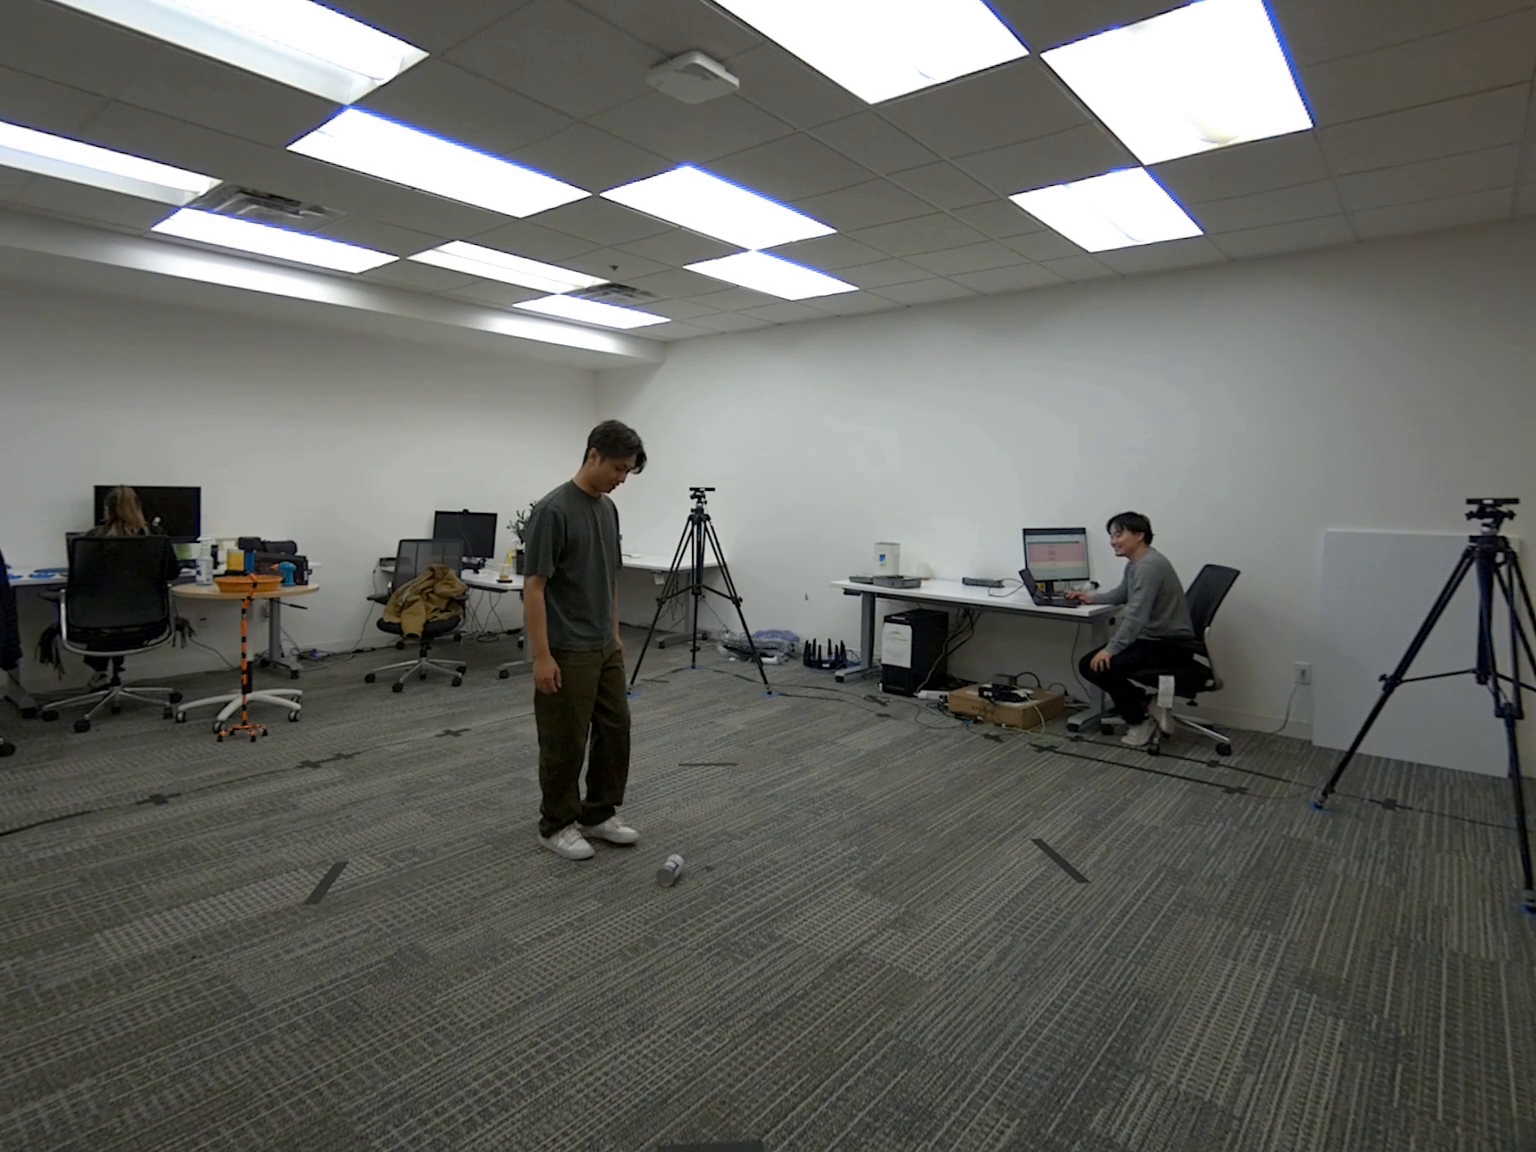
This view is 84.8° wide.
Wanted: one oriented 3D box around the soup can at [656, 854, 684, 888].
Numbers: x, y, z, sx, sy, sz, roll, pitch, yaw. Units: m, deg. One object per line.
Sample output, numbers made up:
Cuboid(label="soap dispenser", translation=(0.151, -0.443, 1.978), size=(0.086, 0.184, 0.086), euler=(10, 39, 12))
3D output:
Cuboid(label="soup can", translation=(-0.353, 1.038, 3.011), size=(0.068, 0.067, 0.120), euler=(2, 7, 12))
